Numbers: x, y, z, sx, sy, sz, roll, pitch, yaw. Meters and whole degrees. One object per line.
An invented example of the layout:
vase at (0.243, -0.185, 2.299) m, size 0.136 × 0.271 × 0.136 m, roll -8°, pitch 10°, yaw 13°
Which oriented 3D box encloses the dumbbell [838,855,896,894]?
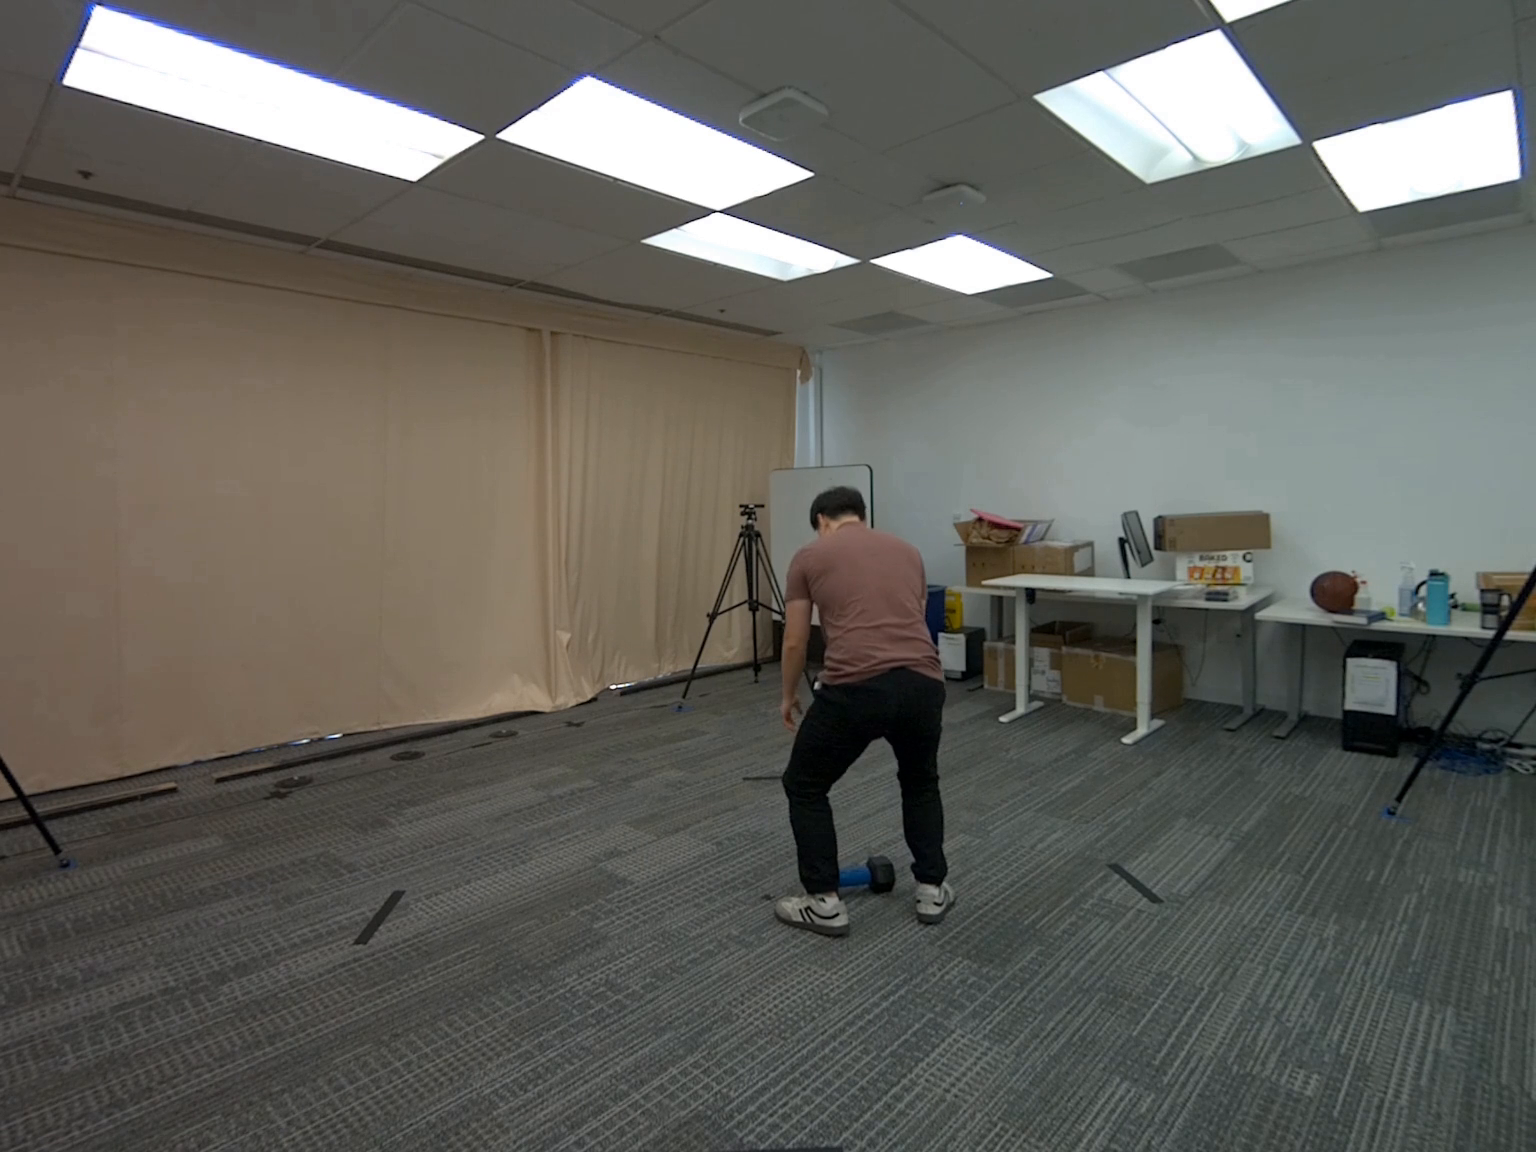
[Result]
dumbbell at (0.307, 1.079, 3.015) m, size 0.291 × 0.125 × 0.108 m, roll -3°, pitch -25°, yaw -8°
